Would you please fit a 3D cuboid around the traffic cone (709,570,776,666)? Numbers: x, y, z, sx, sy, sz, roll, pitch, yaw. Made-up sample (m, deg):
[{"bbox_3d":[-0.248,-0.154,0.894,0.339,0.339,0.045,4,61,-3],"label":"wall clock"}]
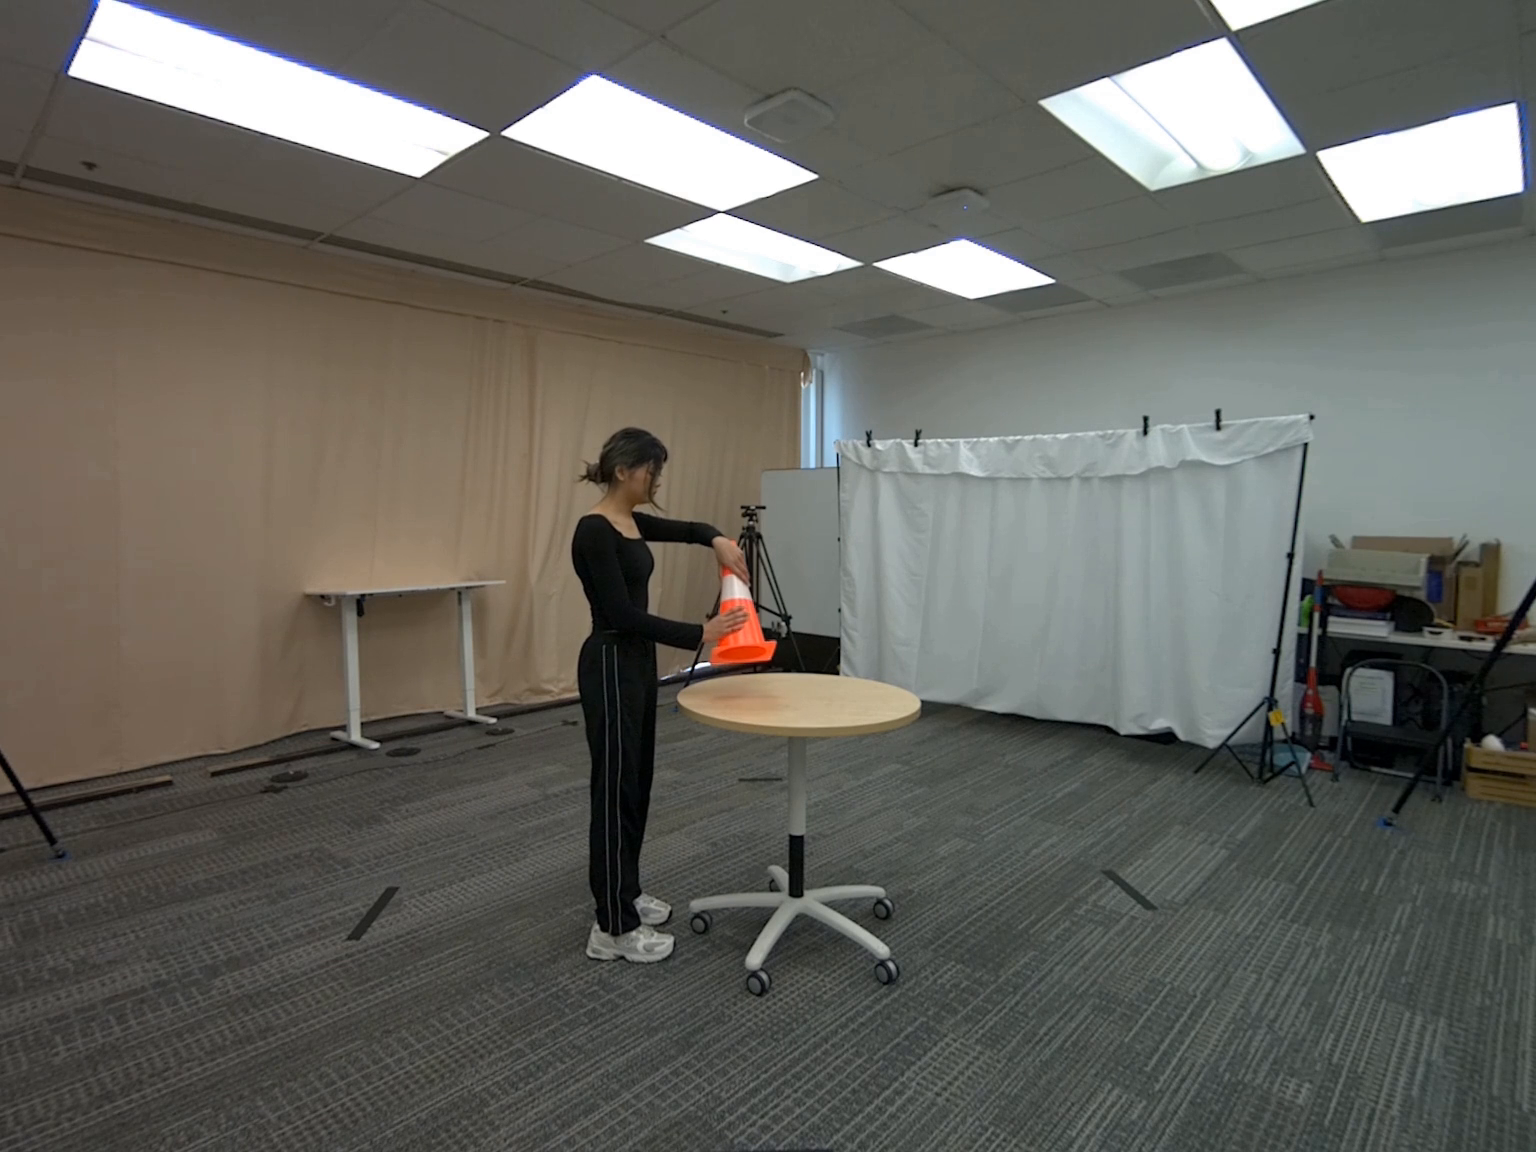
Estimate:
[{"bbox_3d":[-0.103,0.071,2.685,0.202,0.390,0.203,-6,-23,-6],"label":"traffic cone"}]
